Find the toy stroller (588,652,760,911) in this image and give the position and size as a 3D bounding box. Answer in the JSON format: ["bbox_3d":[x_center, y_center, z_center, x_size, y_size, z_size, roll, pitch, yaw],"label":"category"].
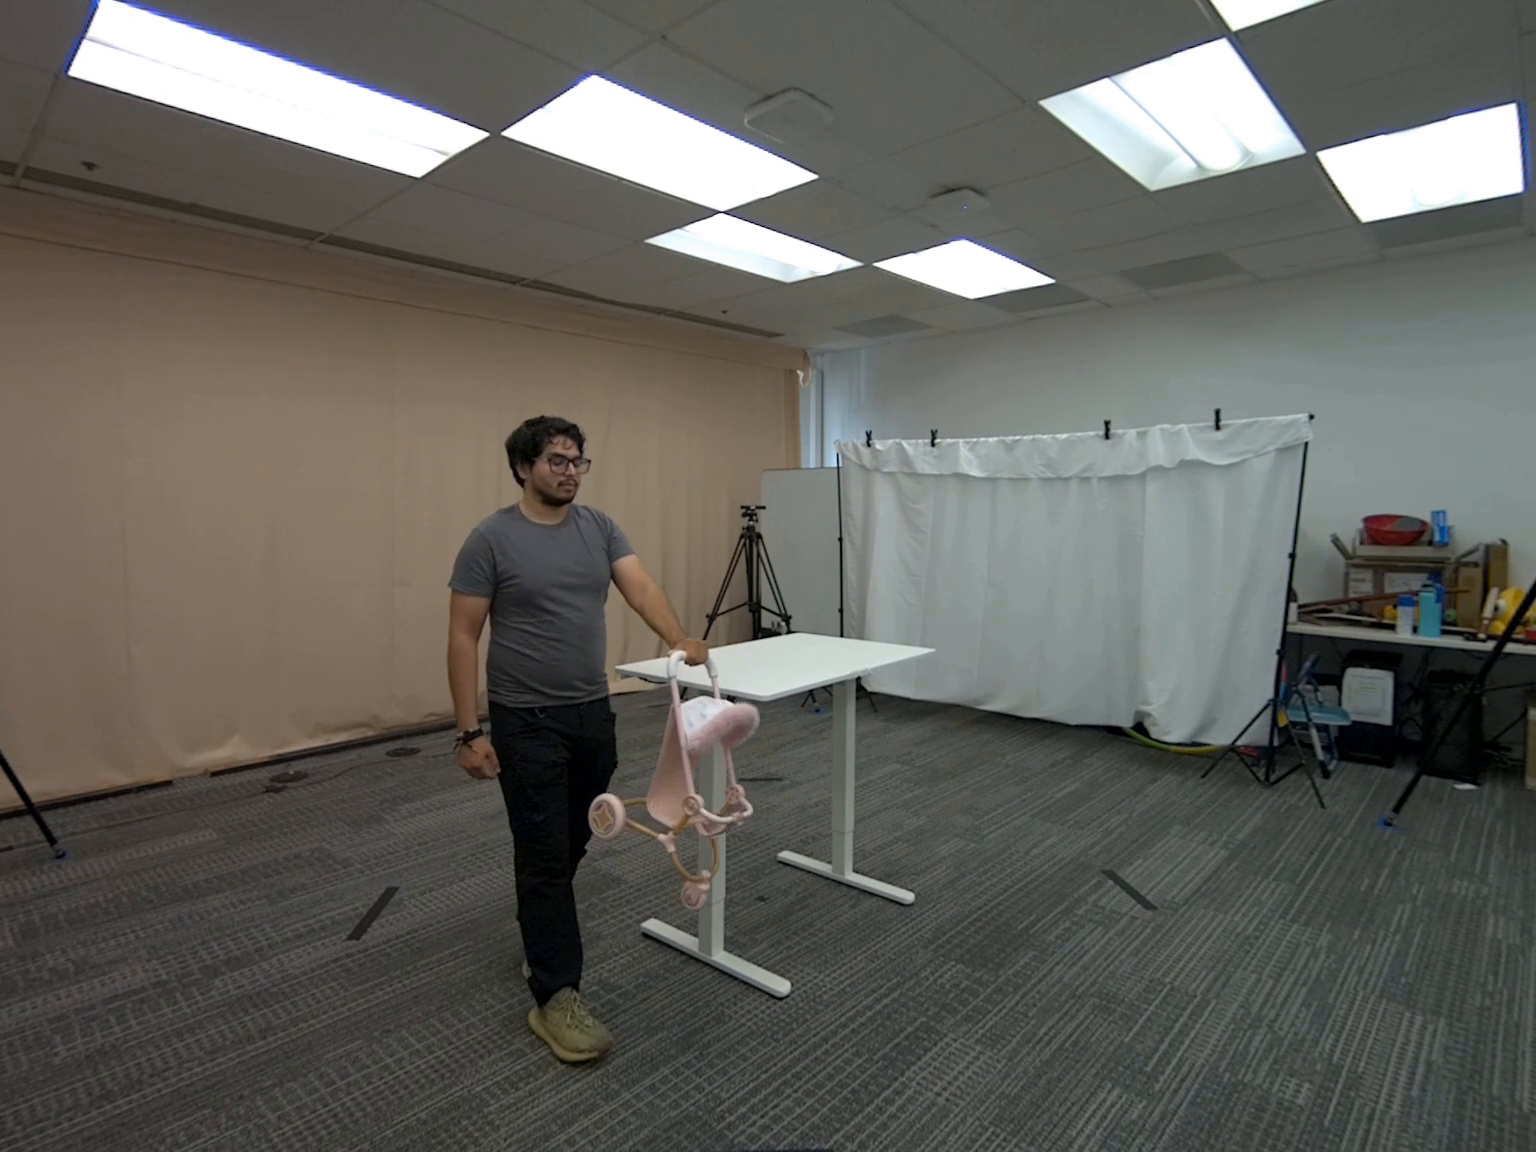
[{"bbox_3d":[-0.184,0.502,2.047,0.353,0.534,0.272,30,9,34],"label":"toy stroller"}]
